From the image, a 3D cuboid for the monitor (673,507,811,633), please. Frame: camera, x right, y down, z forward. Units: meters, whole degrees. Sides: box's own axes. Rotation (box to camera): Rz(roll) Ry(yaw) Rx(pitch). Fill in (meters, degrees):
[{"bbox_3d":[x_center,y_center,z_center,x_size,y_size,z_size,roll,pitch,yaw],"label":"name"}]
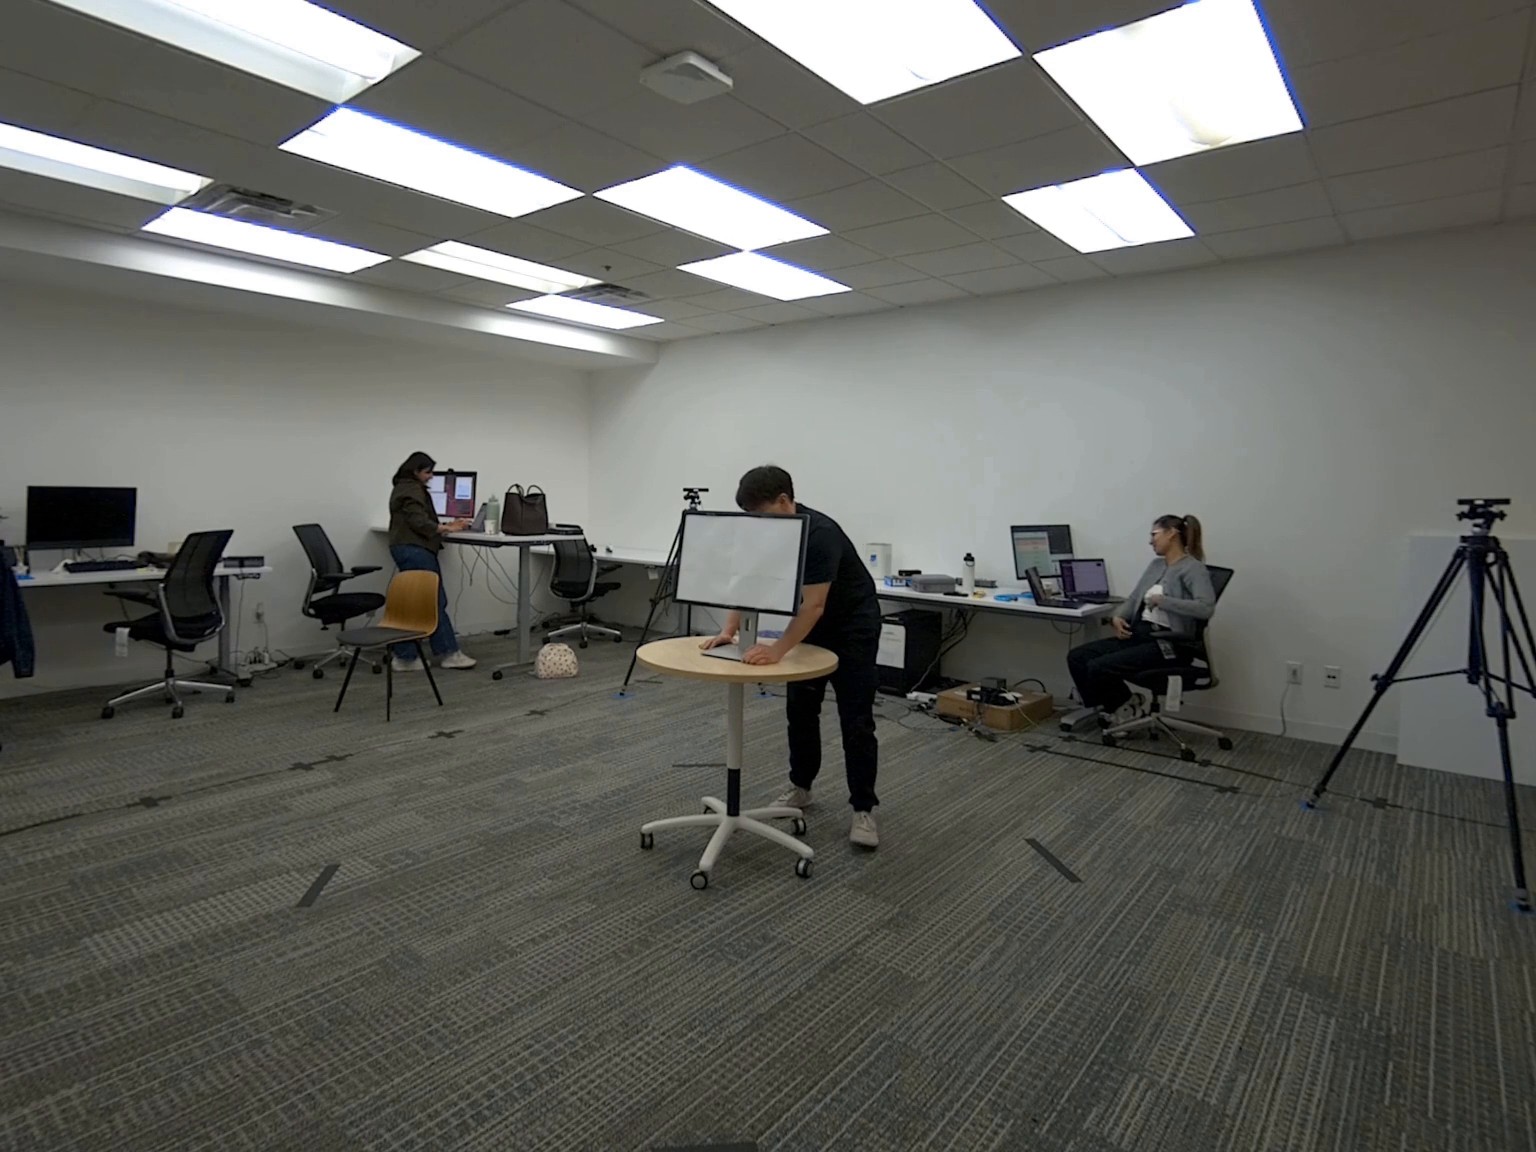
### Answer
[{"bbox_3d":[-0.105,0.029,3.192,0.556,0.520,0.182,4,7,33],"label":"monitor"}]
